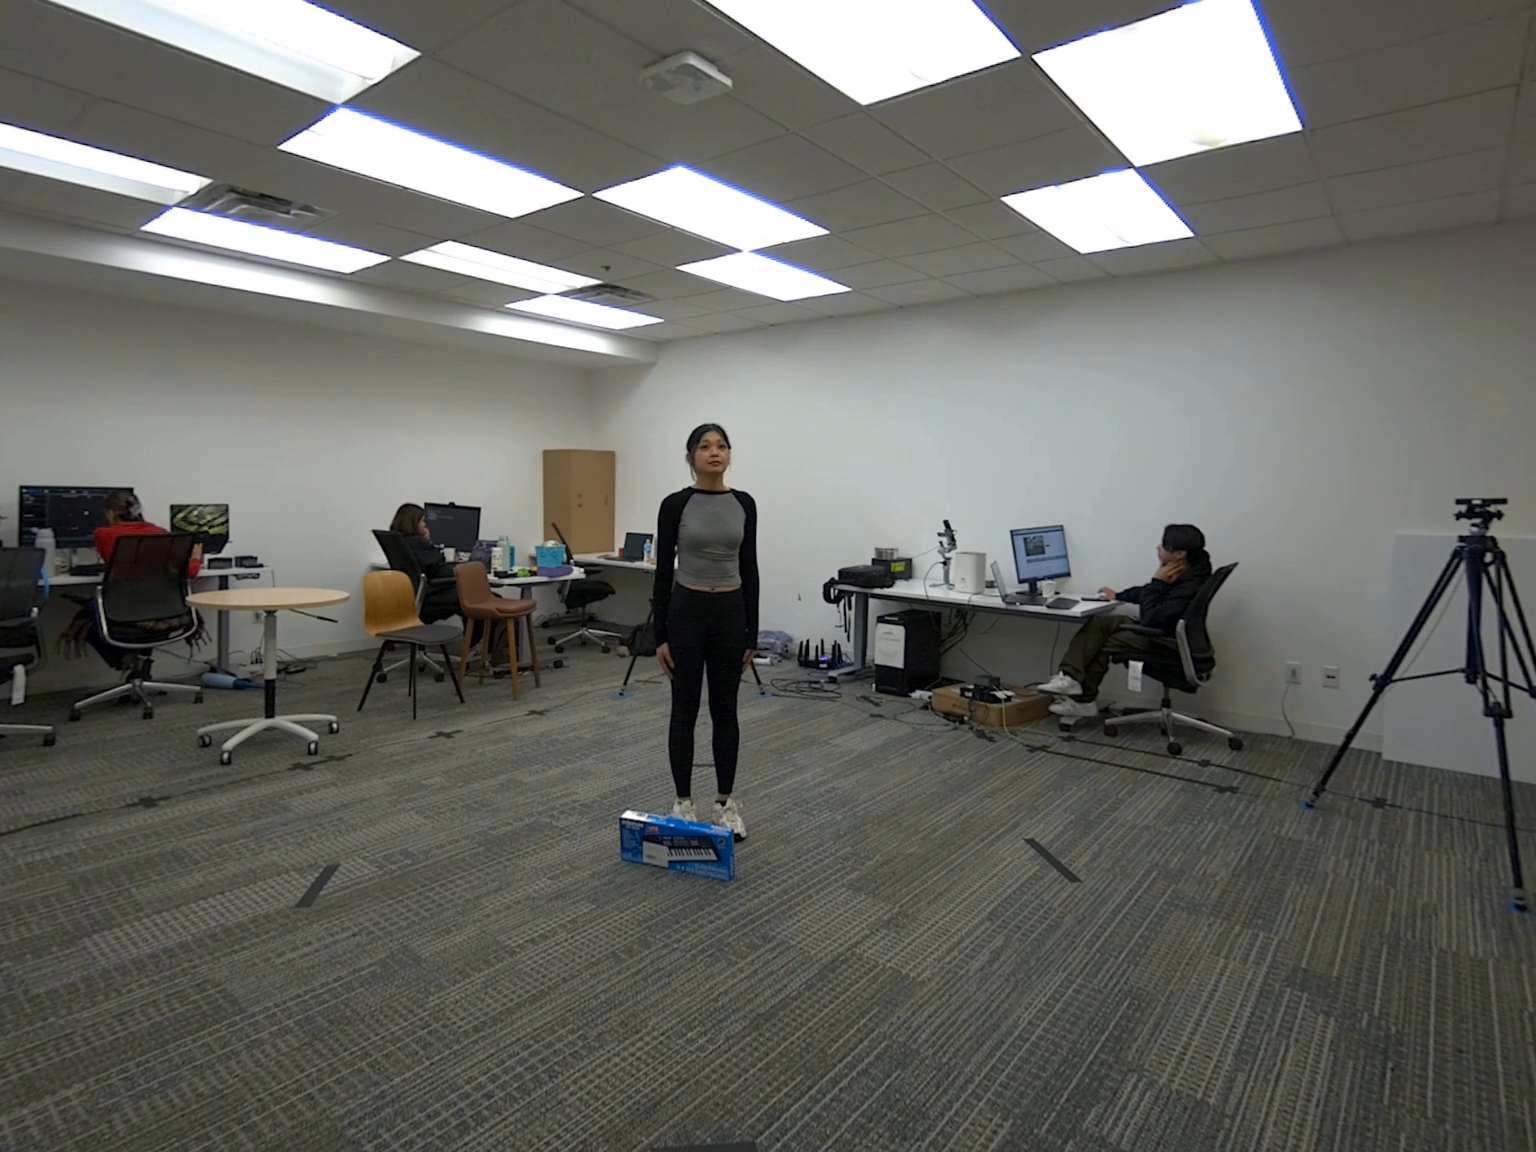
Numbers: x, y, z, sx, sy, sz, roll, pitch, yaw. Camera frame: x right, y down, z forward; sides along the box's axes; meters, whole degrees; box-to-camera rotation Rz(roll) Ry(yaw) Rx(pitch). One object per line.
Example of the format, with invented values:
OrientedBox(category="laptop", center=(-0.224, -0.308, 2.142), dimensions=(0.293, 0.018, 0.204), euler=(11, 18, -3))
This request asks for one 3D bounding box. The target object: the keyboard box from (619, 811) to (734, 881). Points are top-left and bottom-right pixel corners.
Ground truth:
OrientedBox(category="keyboard box", center=(-0.344, 0.980, 3.106), dimensions=(0.446, 0.174, 0.058), euler=(2, 9, 21))
